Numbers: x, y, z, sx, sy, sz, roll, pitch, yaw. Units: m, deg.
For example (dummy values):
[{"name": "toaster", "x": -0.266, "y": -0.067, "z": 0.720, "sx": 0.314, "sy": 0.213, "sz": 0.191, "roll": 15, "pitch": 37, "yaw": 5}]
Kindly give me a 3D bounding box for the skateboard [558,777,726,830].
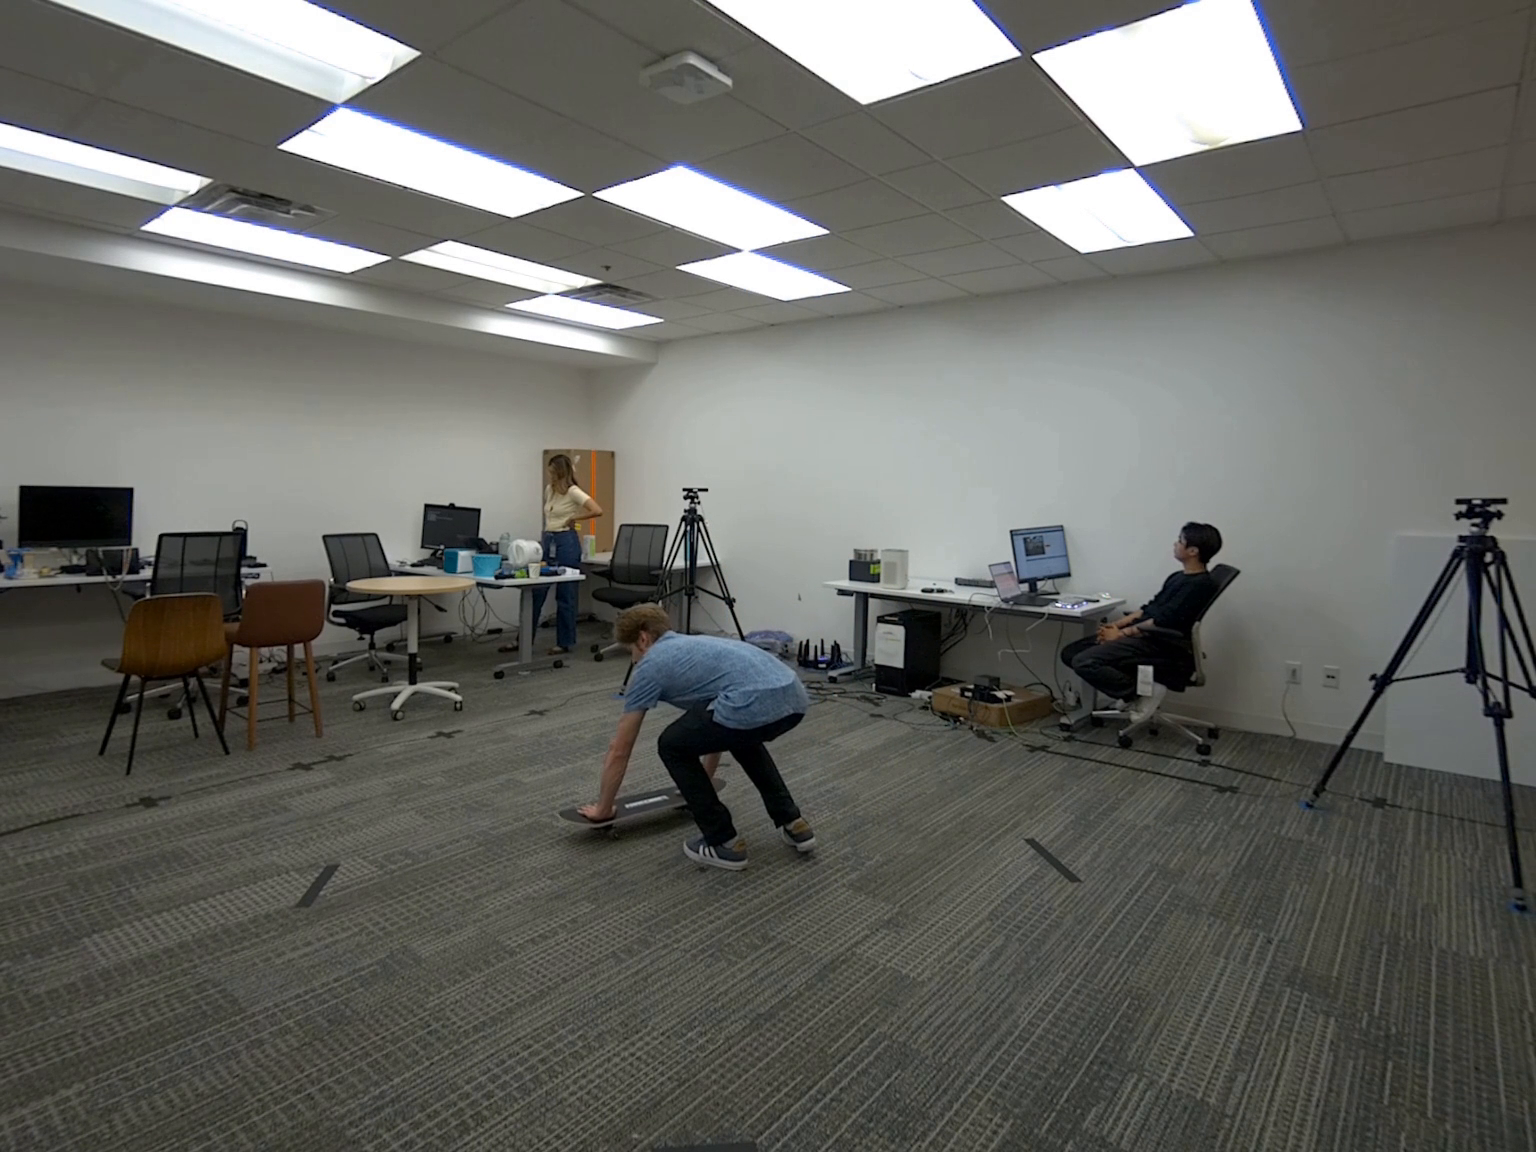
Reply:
[{"name": "skateboard", "x": -0.516, "y": 0.964, "z": 3.535, "sx": 0.763, "sy": 0.110, "sz": 0.199, "roll": -3, "pitch": 4, "yaw": -36}]
